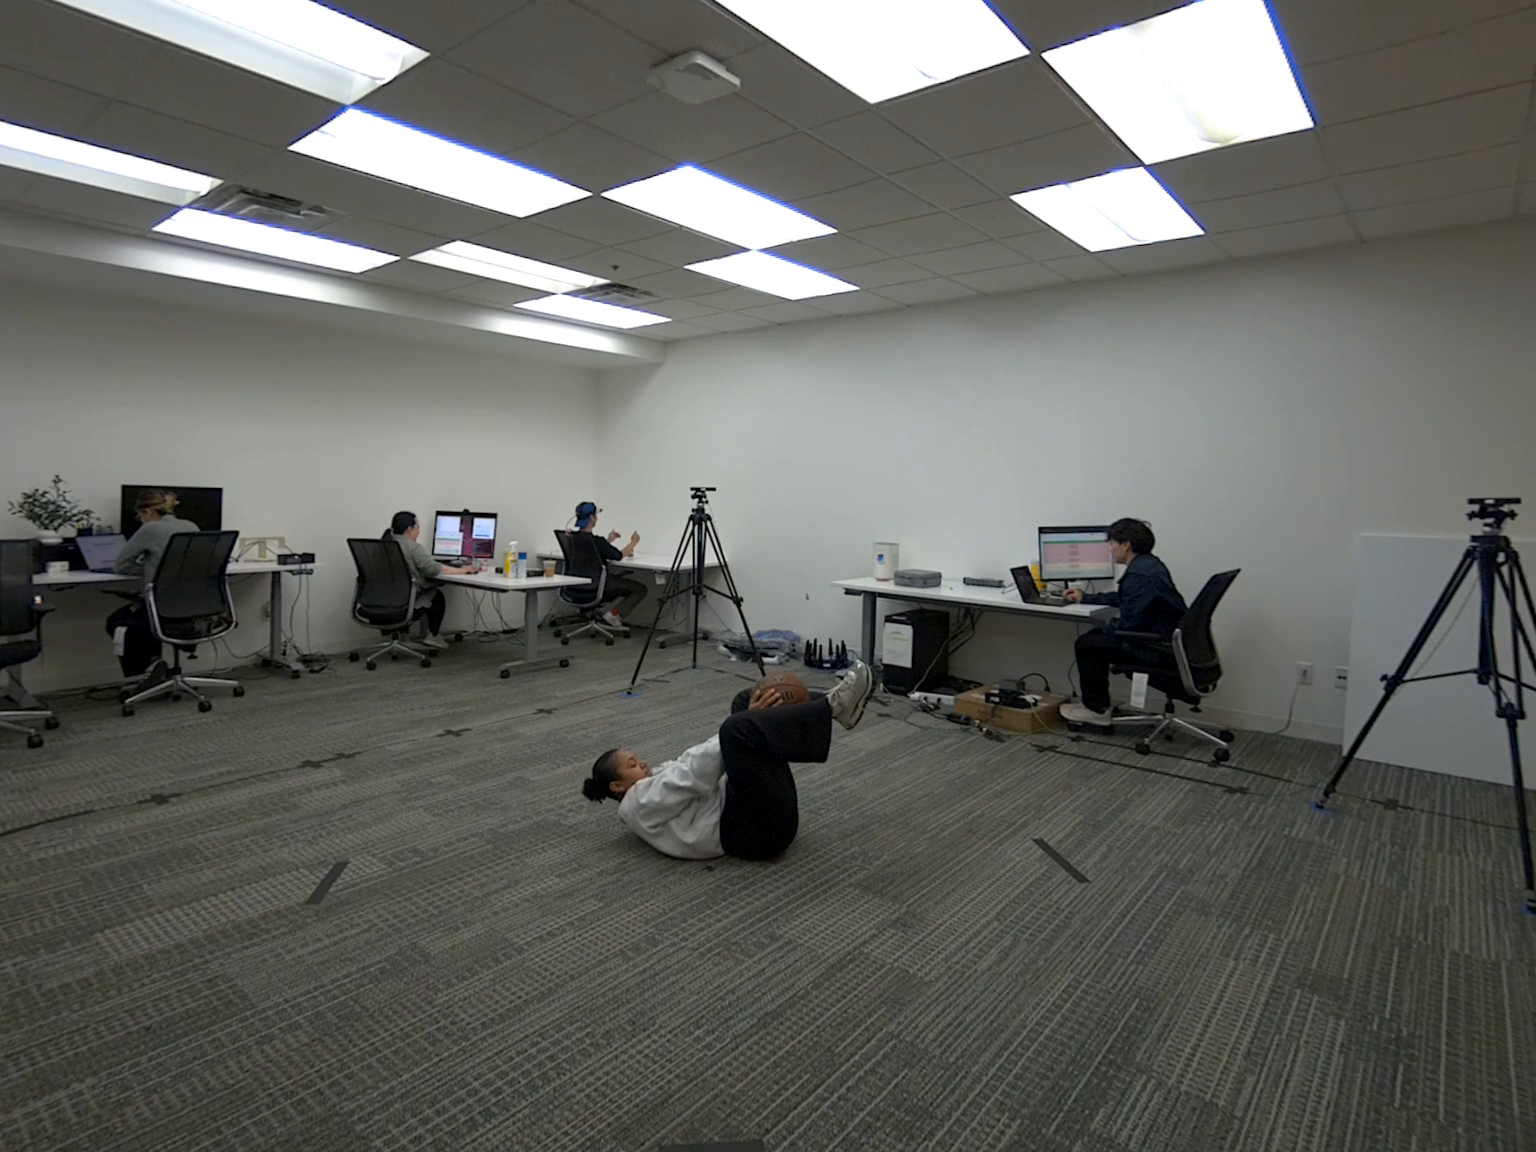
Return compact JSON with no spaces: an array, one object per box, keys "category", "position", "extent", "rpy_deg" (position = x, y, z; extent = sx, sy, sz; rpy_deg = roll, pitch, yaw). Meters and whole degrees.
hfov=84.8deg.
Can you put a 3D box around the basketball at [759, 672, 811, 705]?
[{"category":"basketball","position":[0.029,0.486,3.323],"extent":[0.236,0.235,0.237],"rpy_deg":[0,4,-2]}]
